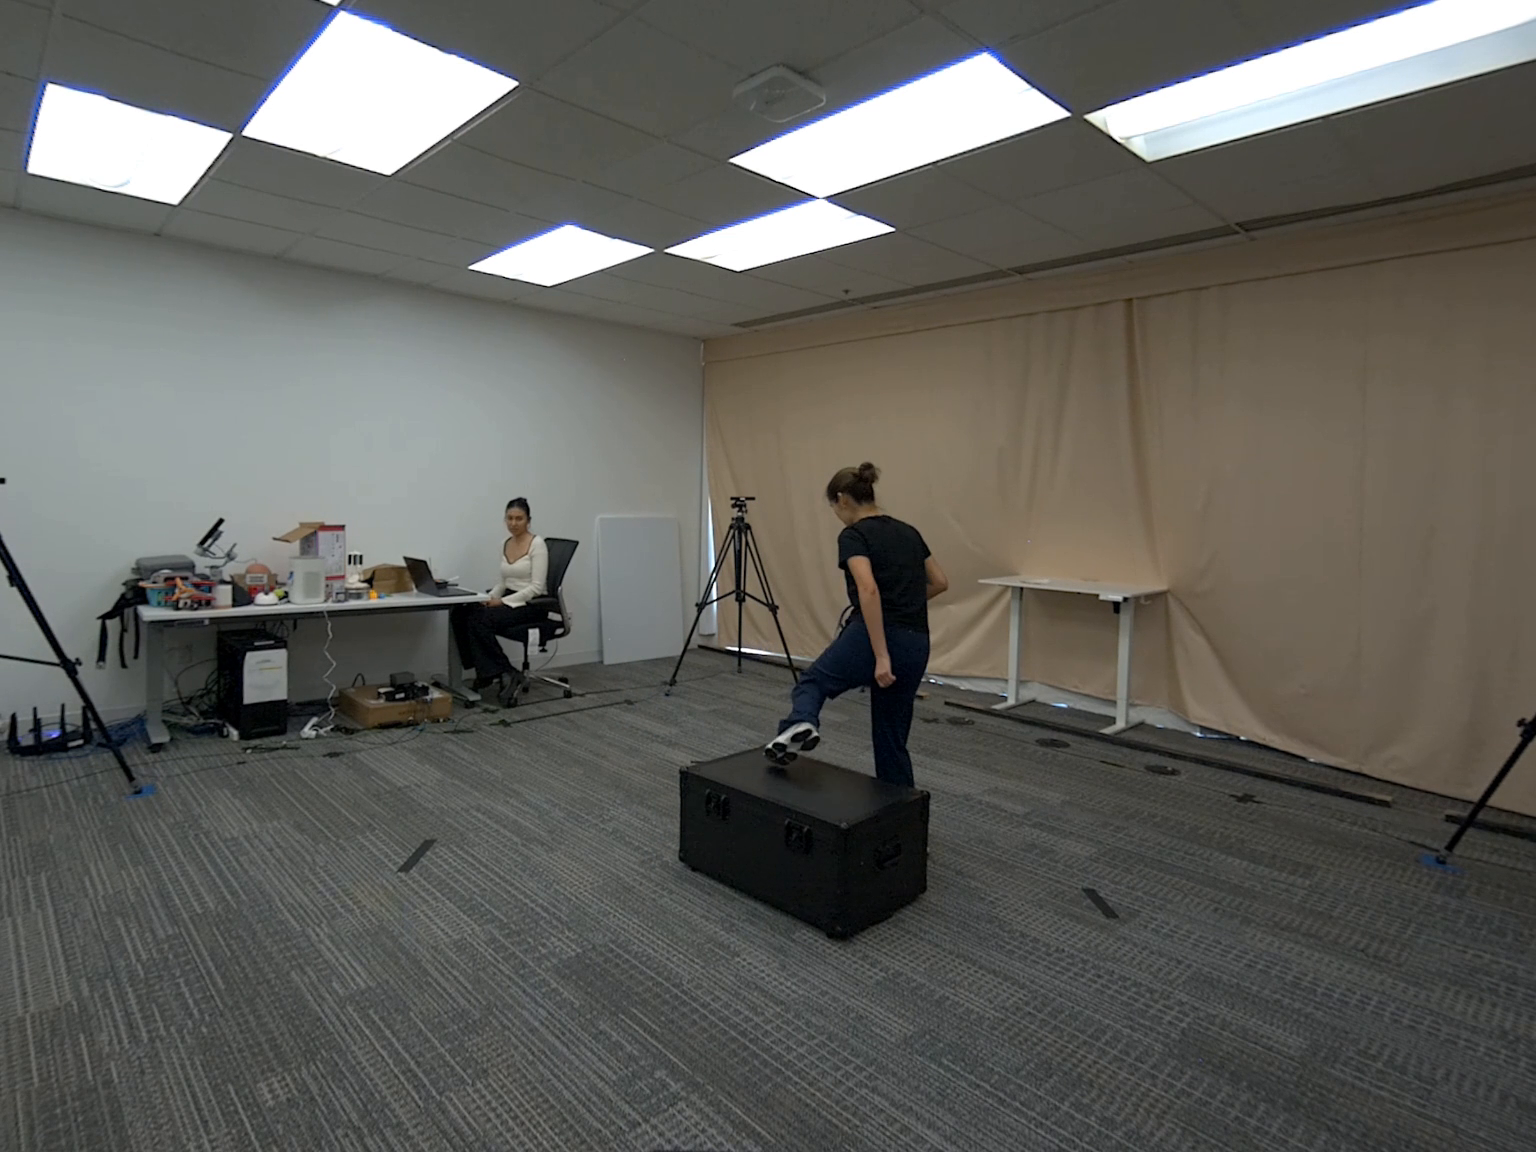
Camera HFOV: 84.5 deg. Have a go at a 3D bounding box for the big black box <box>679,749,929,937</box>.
[{"bbox_3d":[0.089,0.927,3.070,0.884,0.395,0.509,6,6,43],"label":"big black box"}]
